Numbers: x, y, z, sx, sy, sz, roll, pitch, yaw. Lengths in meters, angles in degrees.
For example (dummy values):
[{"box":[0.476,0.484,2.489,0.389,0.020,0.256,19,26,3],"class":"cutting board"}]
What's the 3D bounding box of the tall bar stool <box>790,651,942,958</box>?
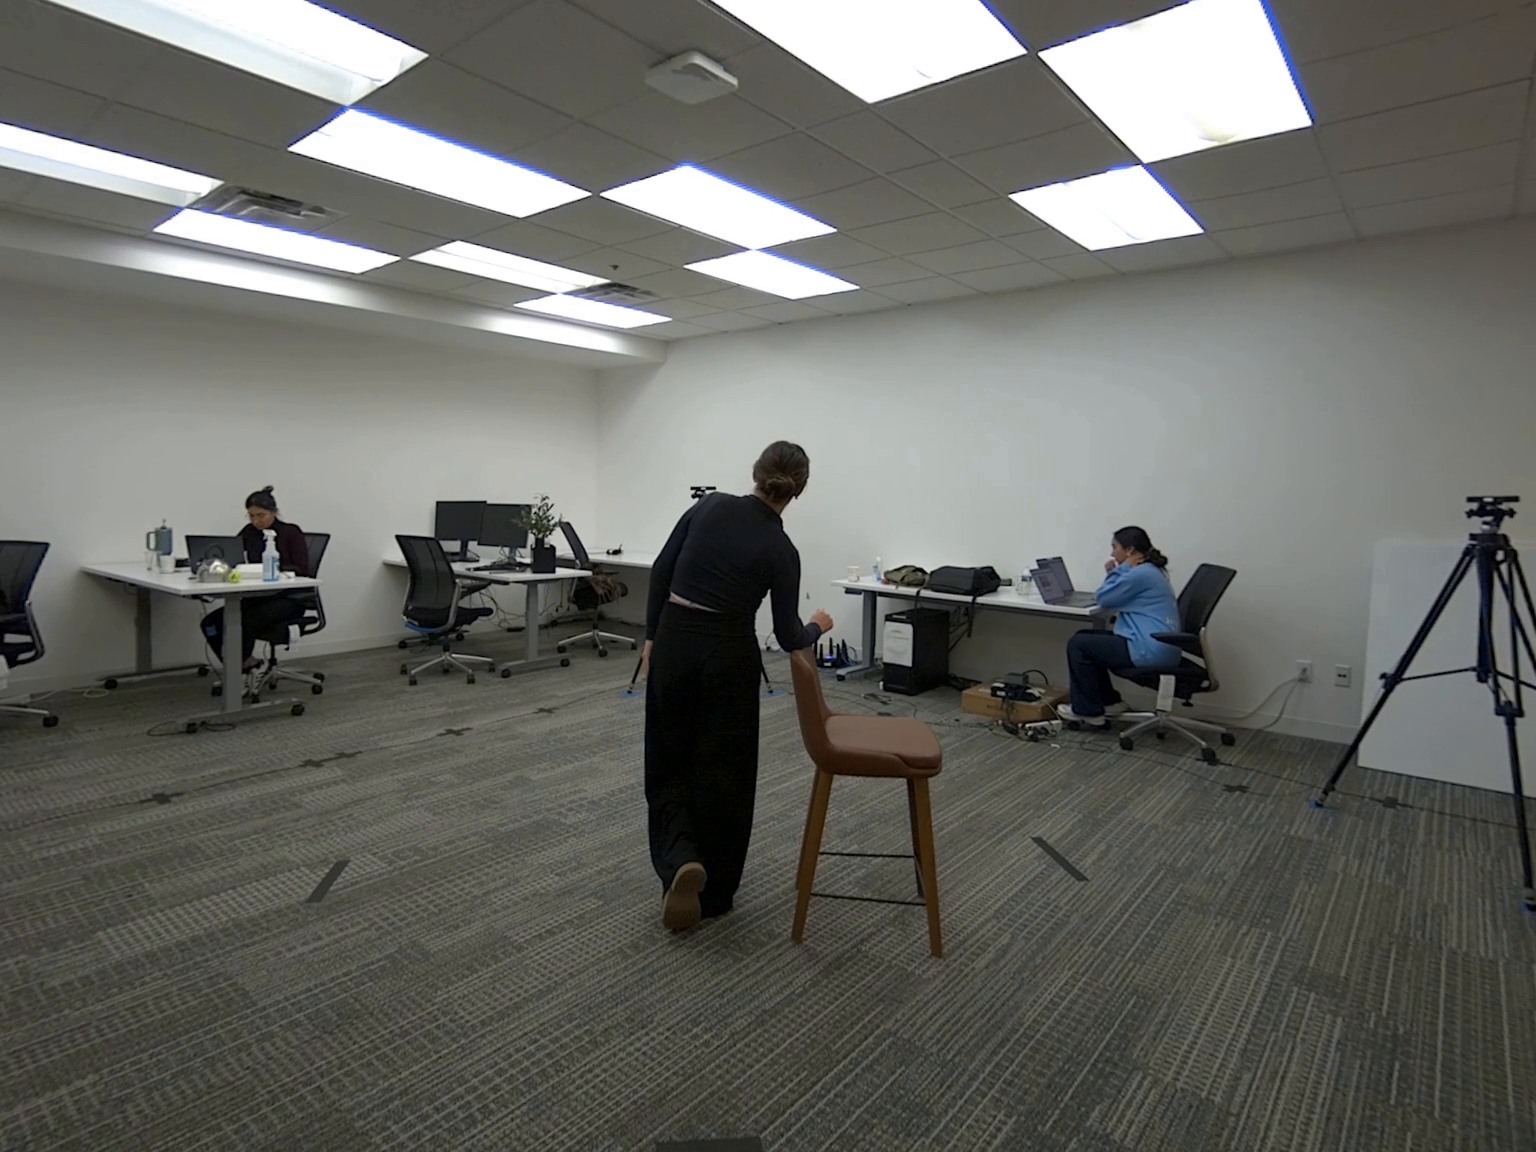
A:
[{"box":[0.309,0.678,2.743,0.471,0.887,0.454,0,3,6],"class":"tall bar stool"}]
